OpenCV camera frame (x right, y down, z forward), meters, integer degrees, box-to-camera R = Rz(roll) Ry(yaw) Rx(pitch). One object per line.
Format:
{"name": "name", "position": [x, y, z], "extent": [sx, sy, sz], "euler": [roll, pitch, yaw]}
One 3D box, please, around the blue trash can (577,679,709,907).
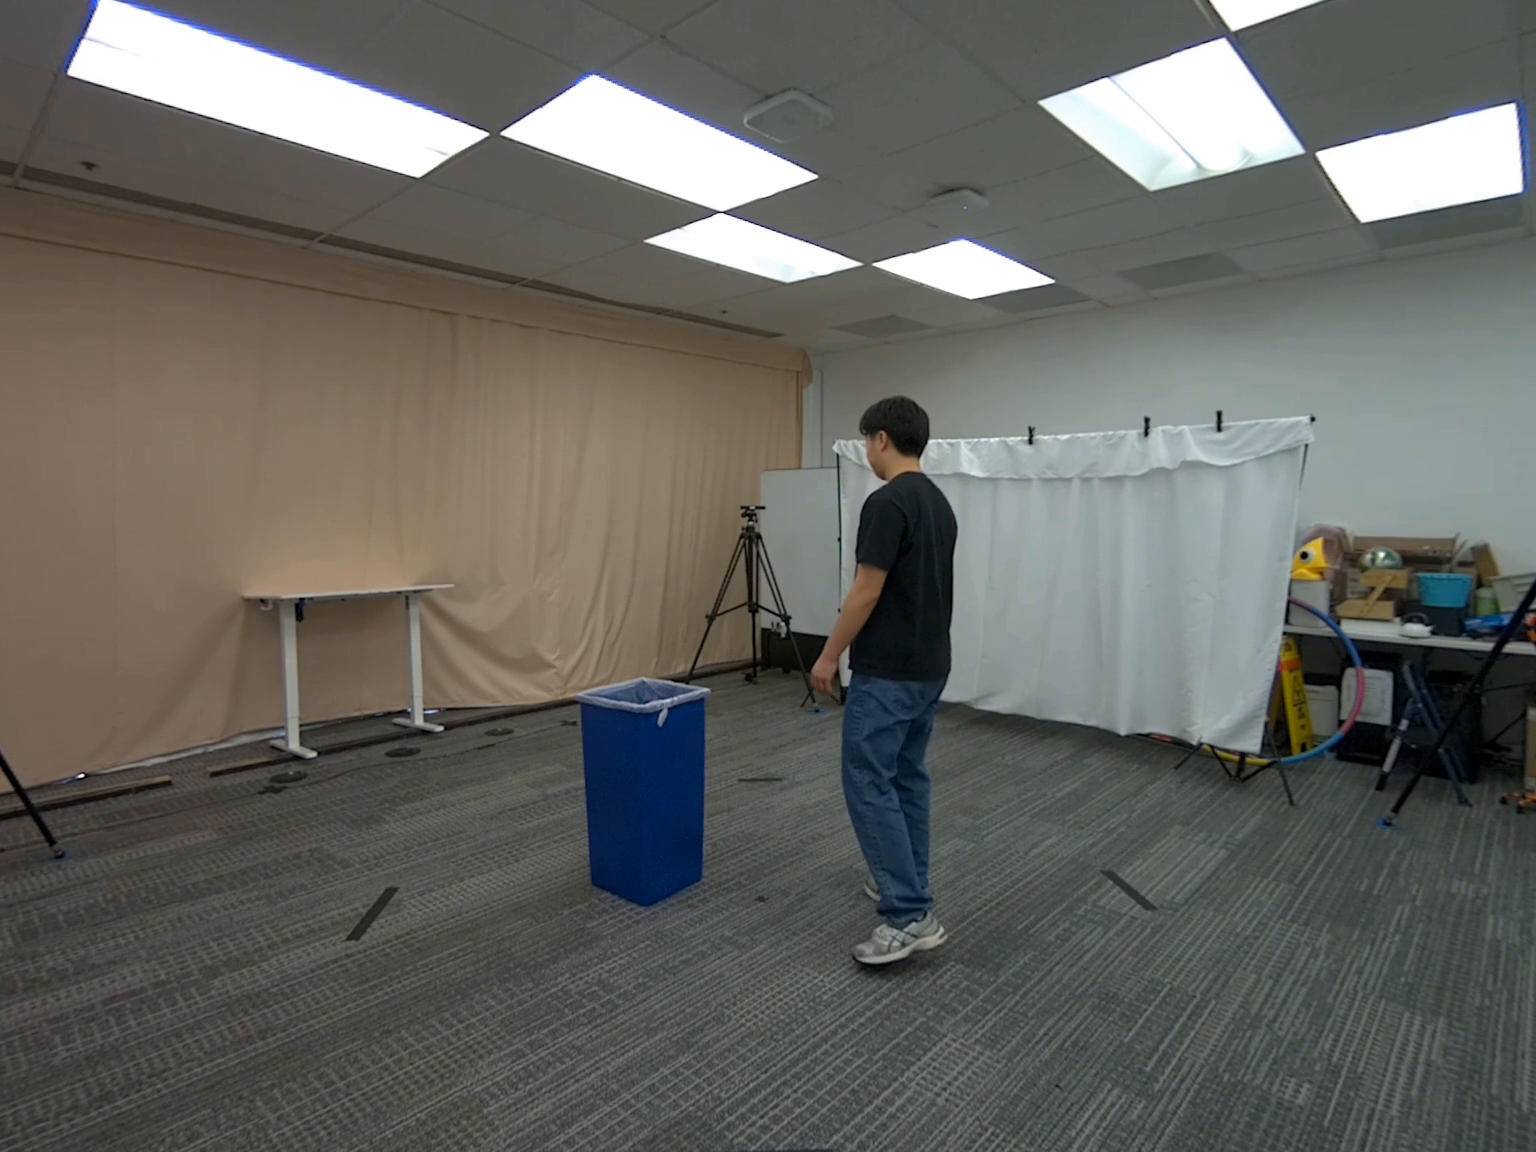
{"name": "blue trash can", "position": [-0.463, 0.779, 3.115], "extent": [0.386, 0.712, 0.367], "euler": [2, 4, 39]}
